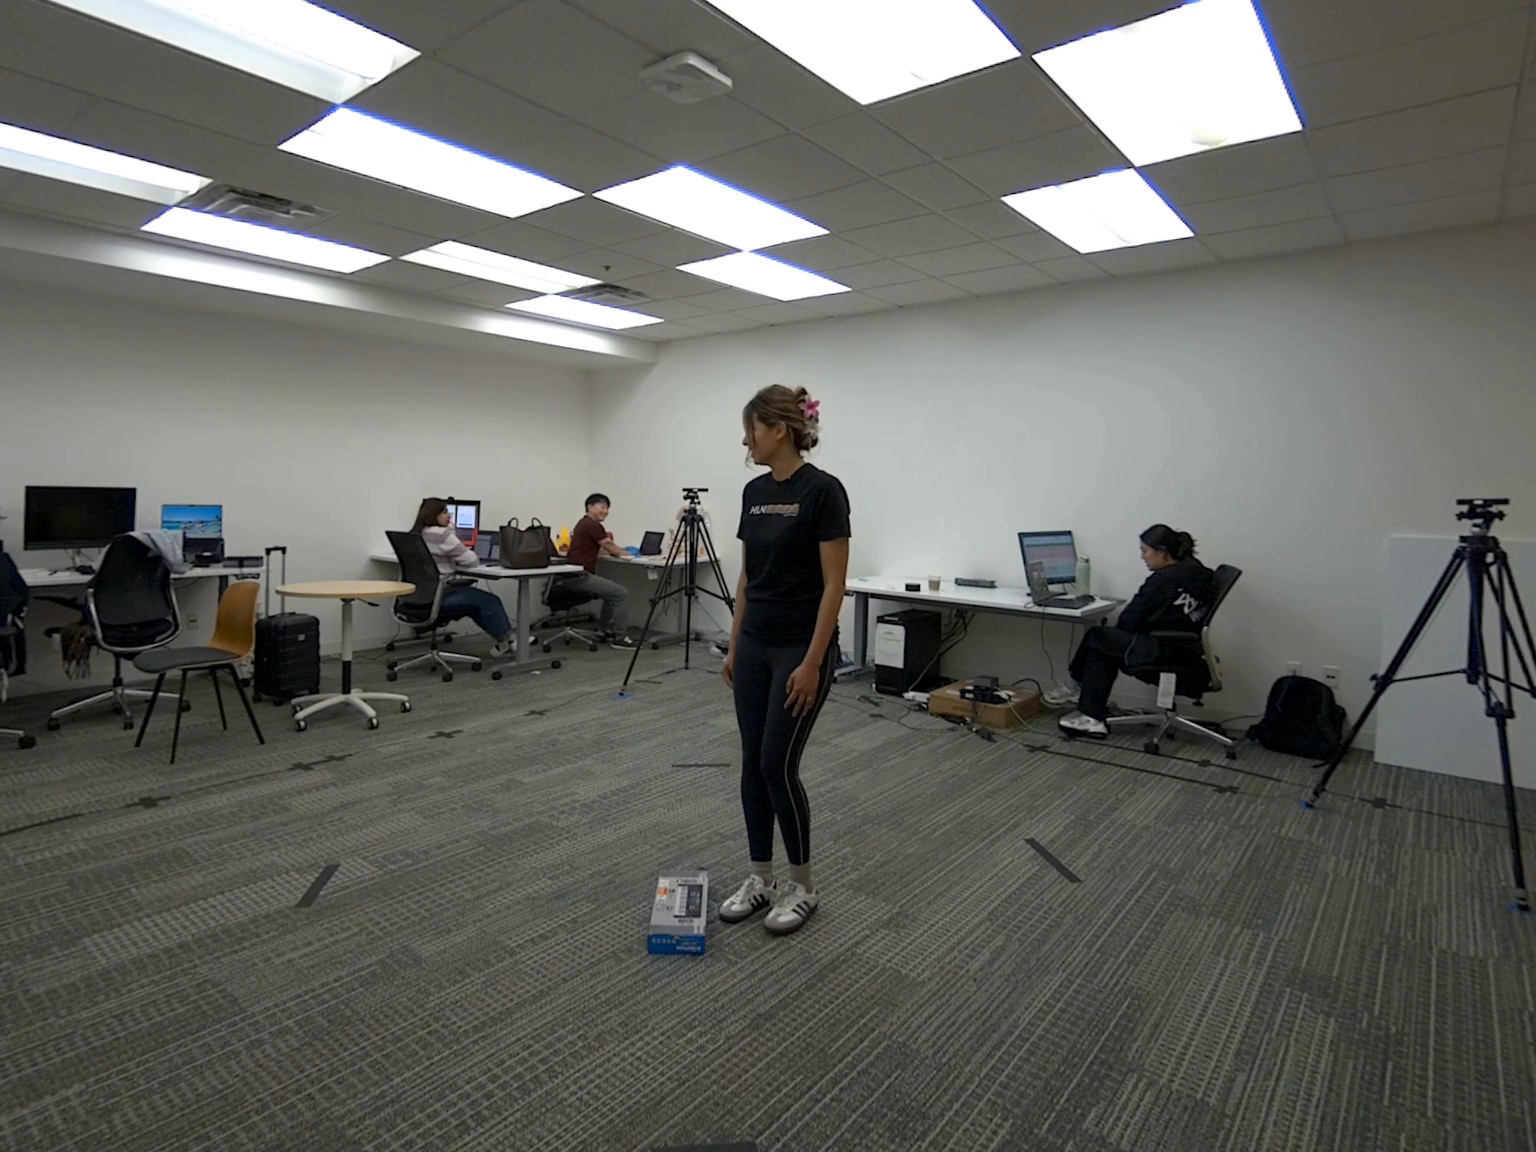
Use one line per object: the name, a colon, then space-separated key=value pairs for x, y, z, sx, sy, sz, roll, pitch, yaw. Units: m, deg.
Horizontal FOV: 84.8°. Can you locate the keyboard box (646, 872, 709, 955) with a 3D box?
keyboard box: x=-0.289 y=1.073 z=2.747 sx=0.176 sy=0.059 sz=0.439 roll=0 pitch=6 yaw=-2
